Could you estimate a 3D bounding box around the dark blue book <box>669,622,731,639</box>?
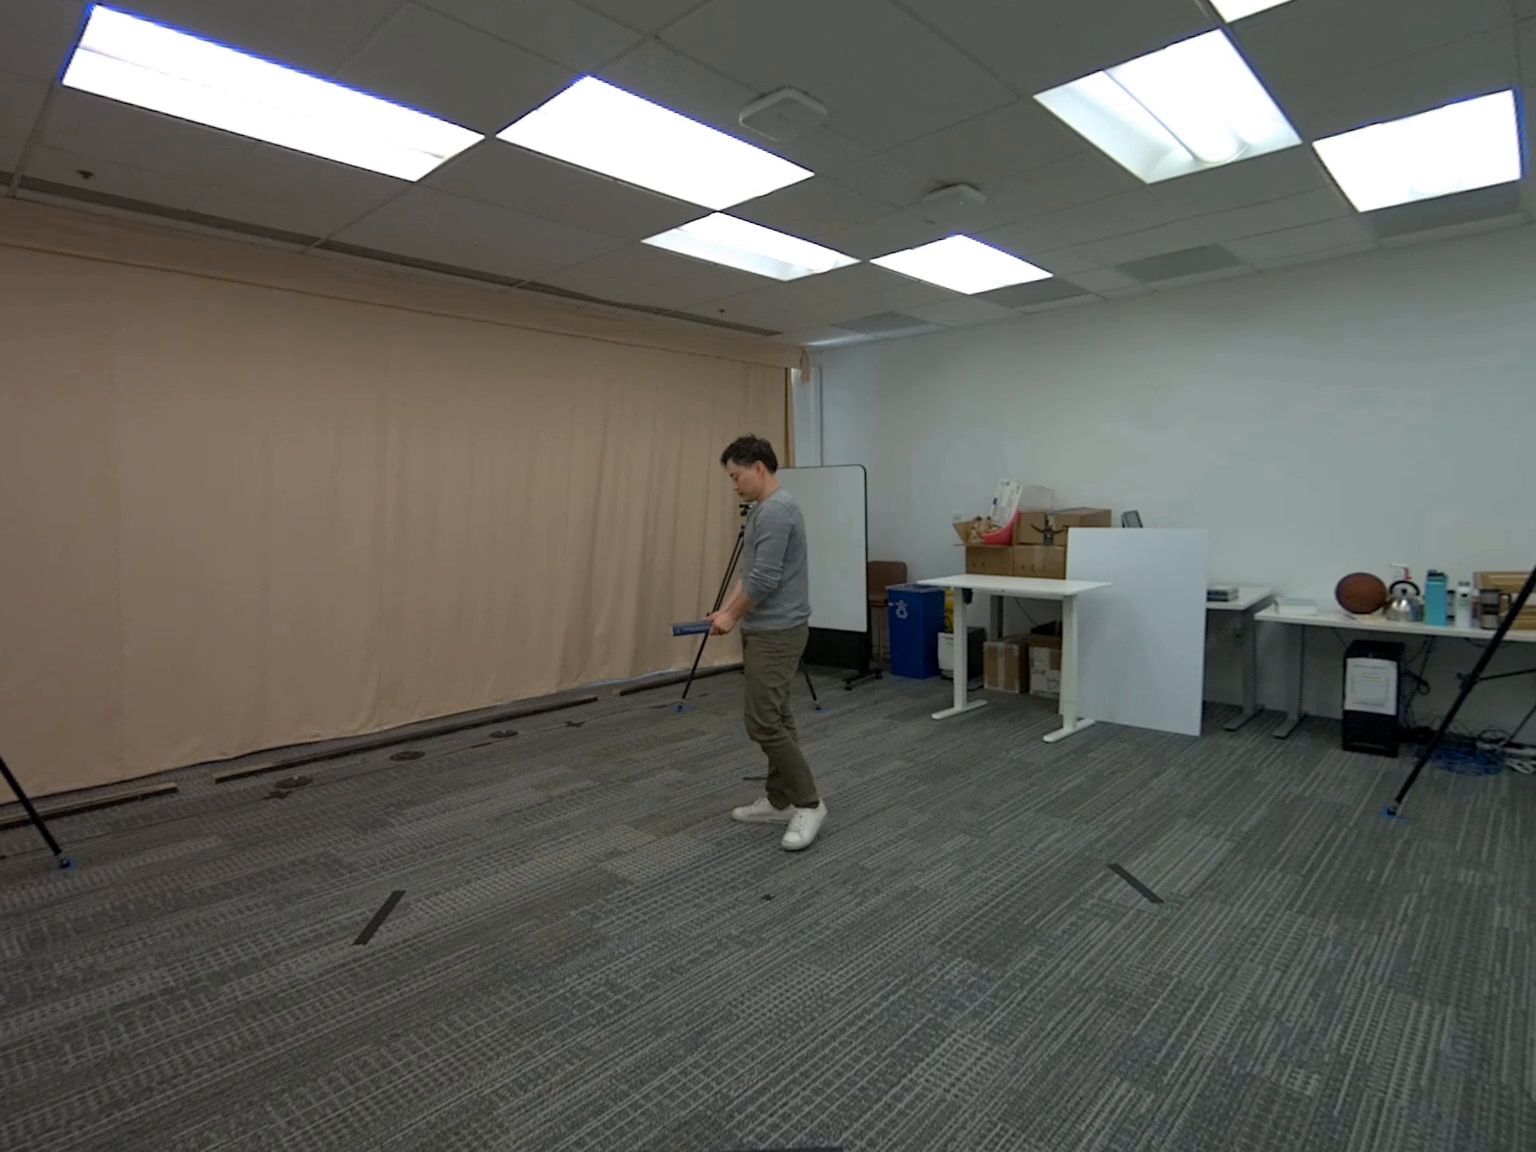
[{"bbox_3d":[-0.292,0.223,3.569,0.243,0.045,0.164,-4,0,-6],"label":"dark blue book"}]
